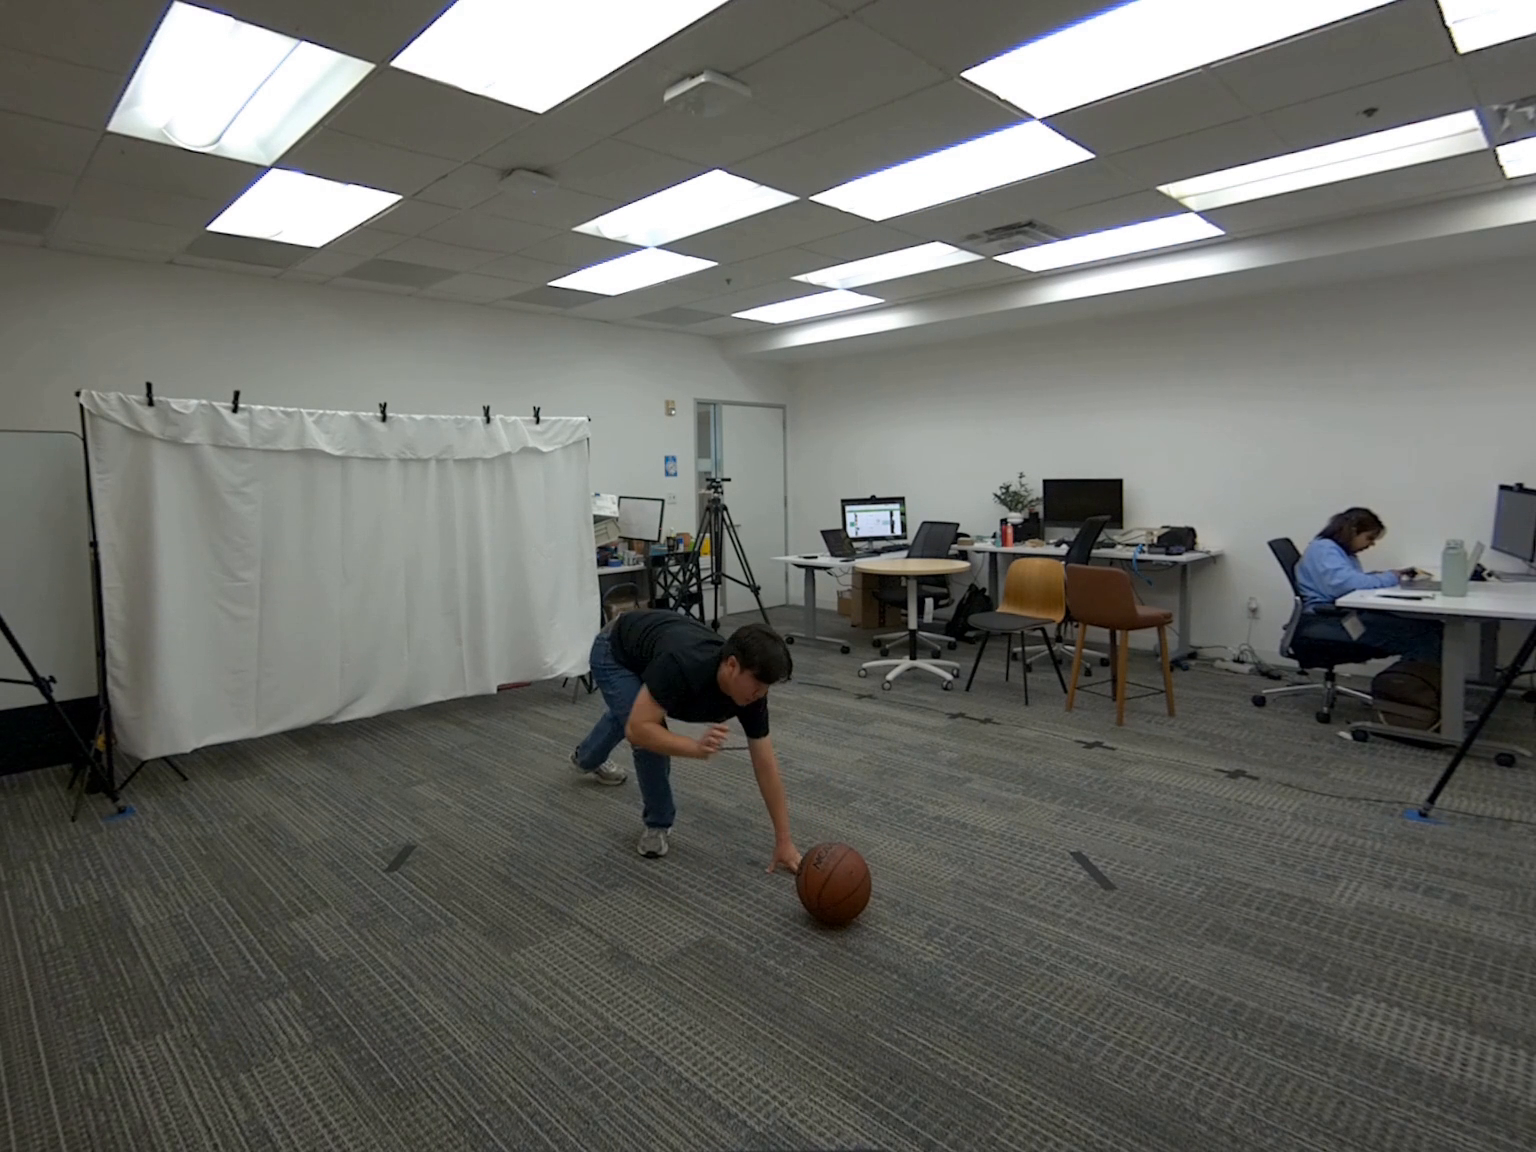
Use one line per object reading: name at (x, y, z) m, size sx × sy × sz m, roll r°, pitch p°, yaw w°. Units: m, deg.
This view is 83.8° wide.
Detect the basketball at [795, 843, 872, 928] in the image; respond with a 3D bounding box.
basketball at (0.210, 0.962, 2.690) m, size 0.236 × 0.235 × 0.237 m, roll -1°, pitch 5°, yaw -2°
